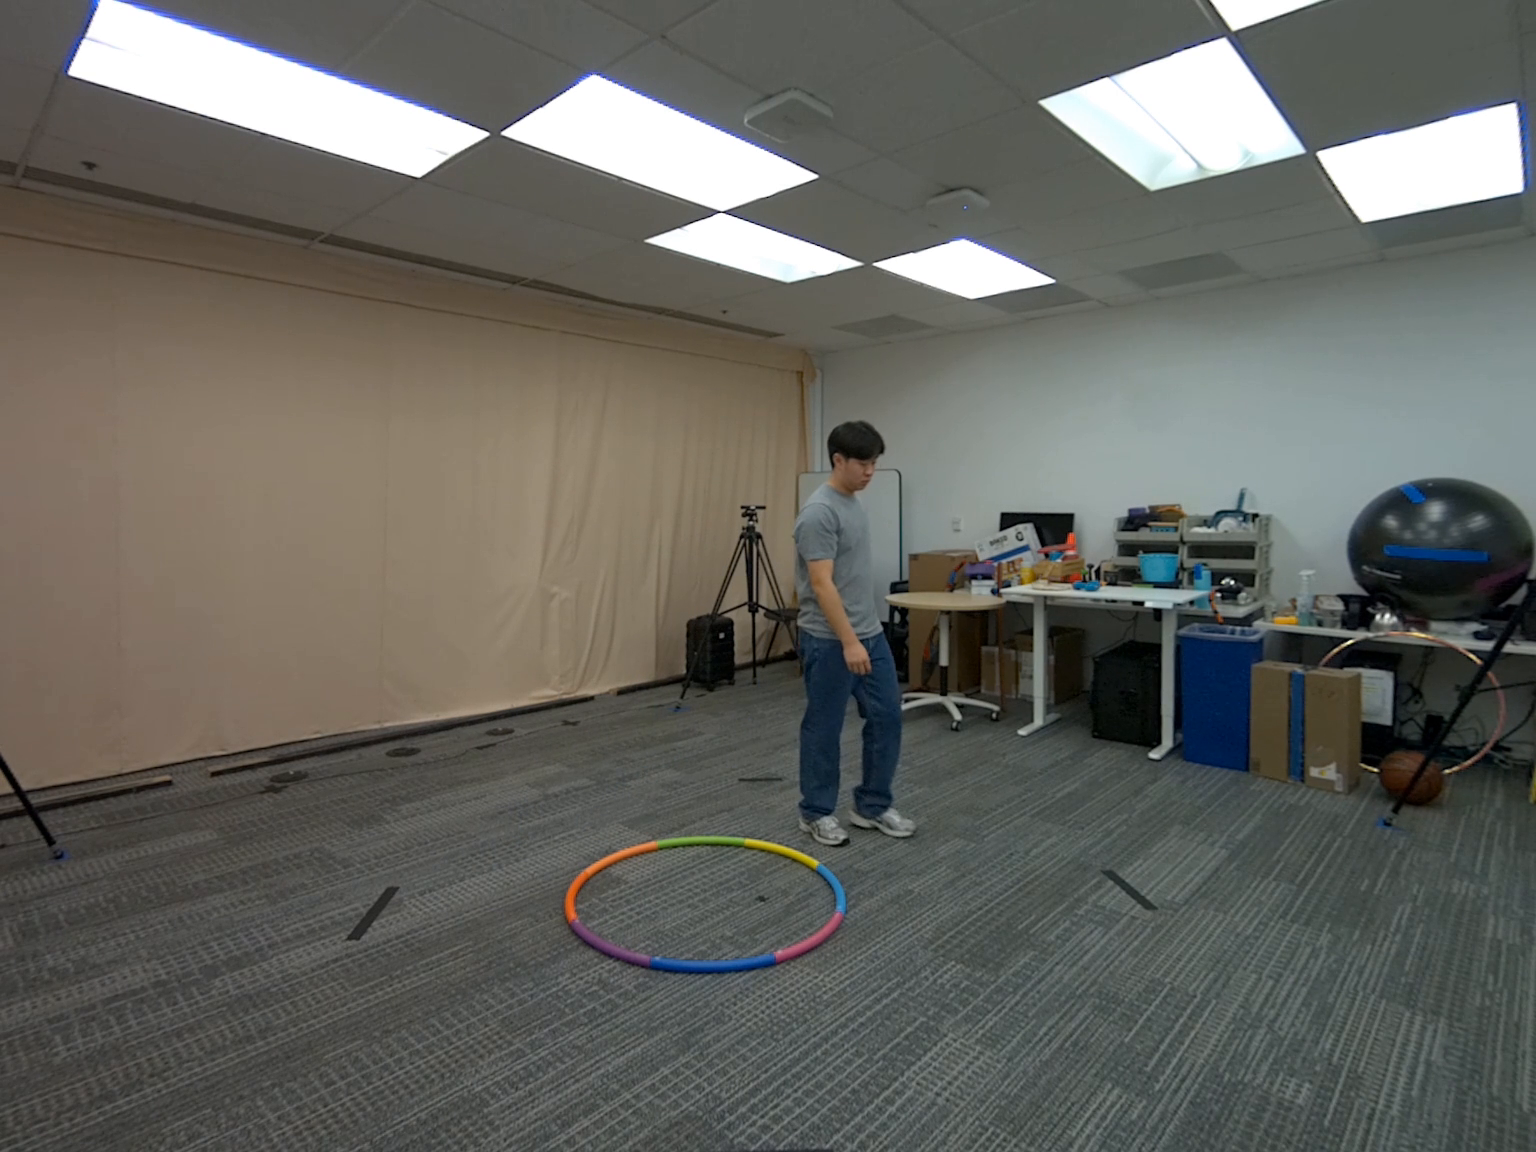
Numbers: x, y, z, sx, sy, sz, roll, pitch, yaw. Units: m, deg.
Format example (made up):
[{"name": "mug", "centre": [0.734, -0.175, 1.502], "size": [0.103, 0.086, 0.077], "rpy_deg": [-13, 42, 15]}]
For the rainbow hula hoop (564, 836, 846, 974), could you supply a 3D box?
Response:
[{"name": "rainbow hula hoop", "centre": [-0.222, 1.114, 2.989], "size": [0.978, 0.035, 0.982], "rpy_deg": [-1, 5, -2]}]
